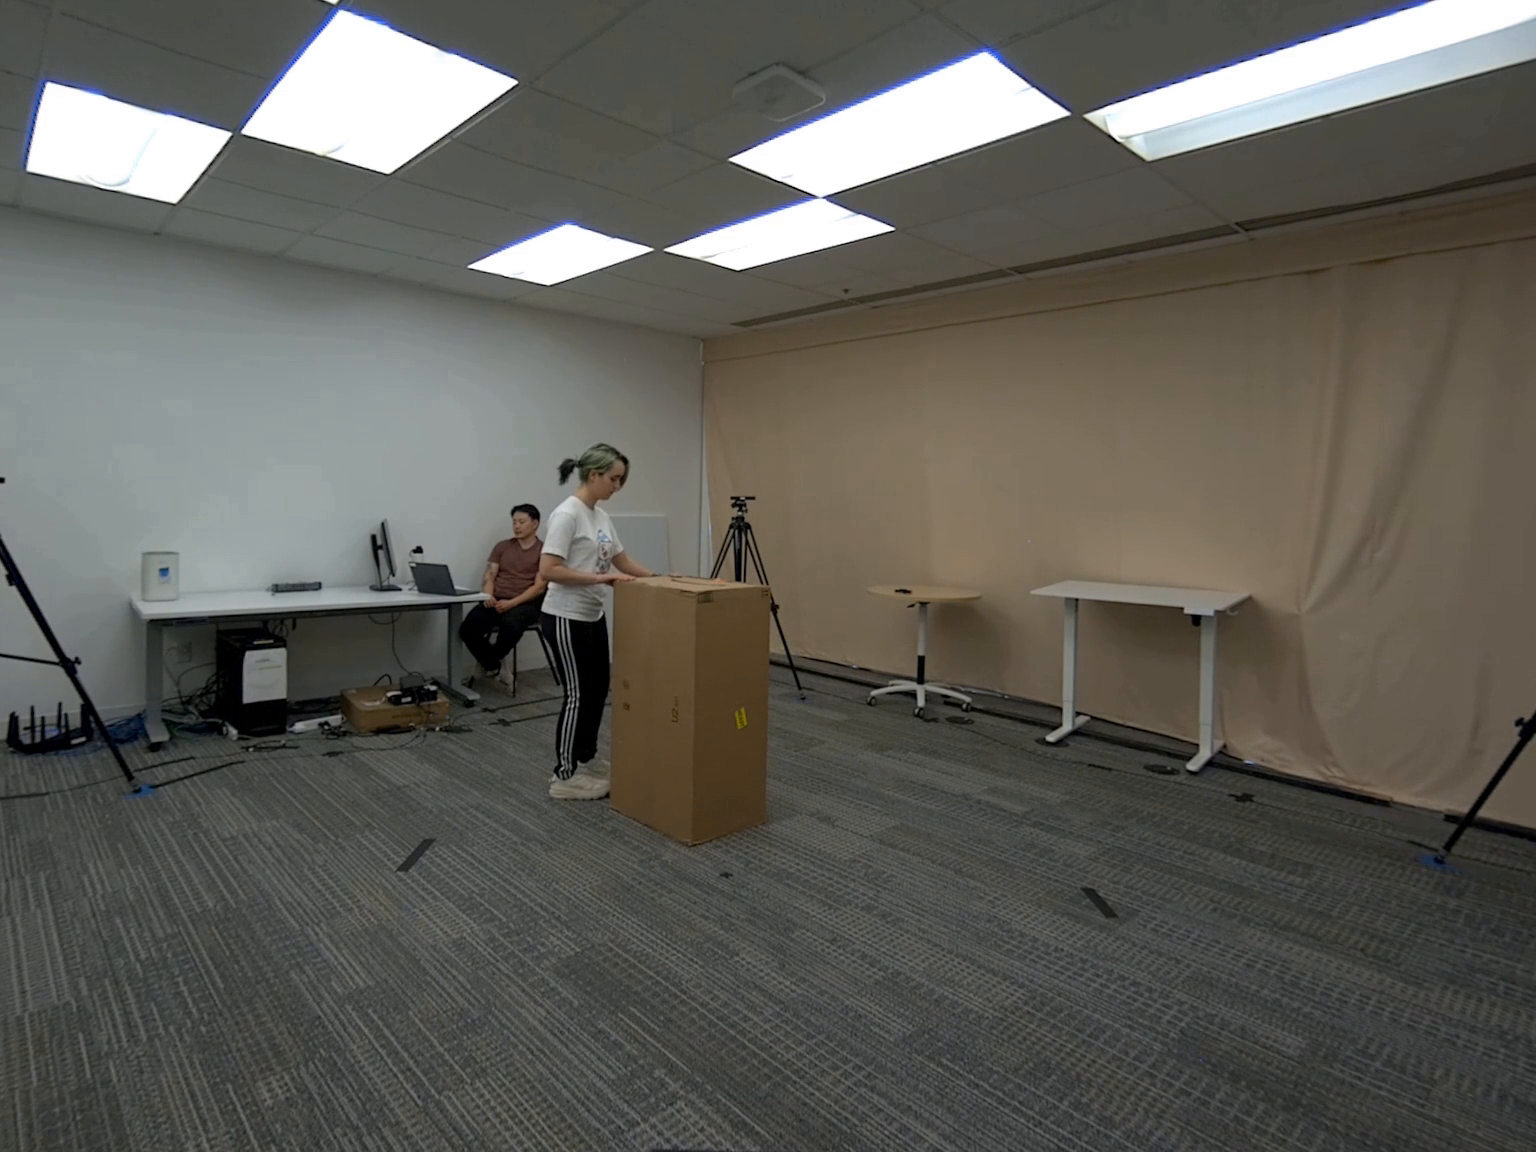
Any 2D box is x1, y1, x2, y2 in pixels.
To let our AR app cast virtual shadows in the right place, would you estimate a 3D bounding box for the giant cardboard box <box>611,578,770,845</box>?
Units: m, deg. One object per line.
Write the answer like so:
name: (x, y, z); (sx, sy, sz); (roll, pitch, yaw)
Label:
giant cardboard box: (-0.353, 0.542, 3.677); (0.436, 1.025, 0.599); (-2, 5, -45)
